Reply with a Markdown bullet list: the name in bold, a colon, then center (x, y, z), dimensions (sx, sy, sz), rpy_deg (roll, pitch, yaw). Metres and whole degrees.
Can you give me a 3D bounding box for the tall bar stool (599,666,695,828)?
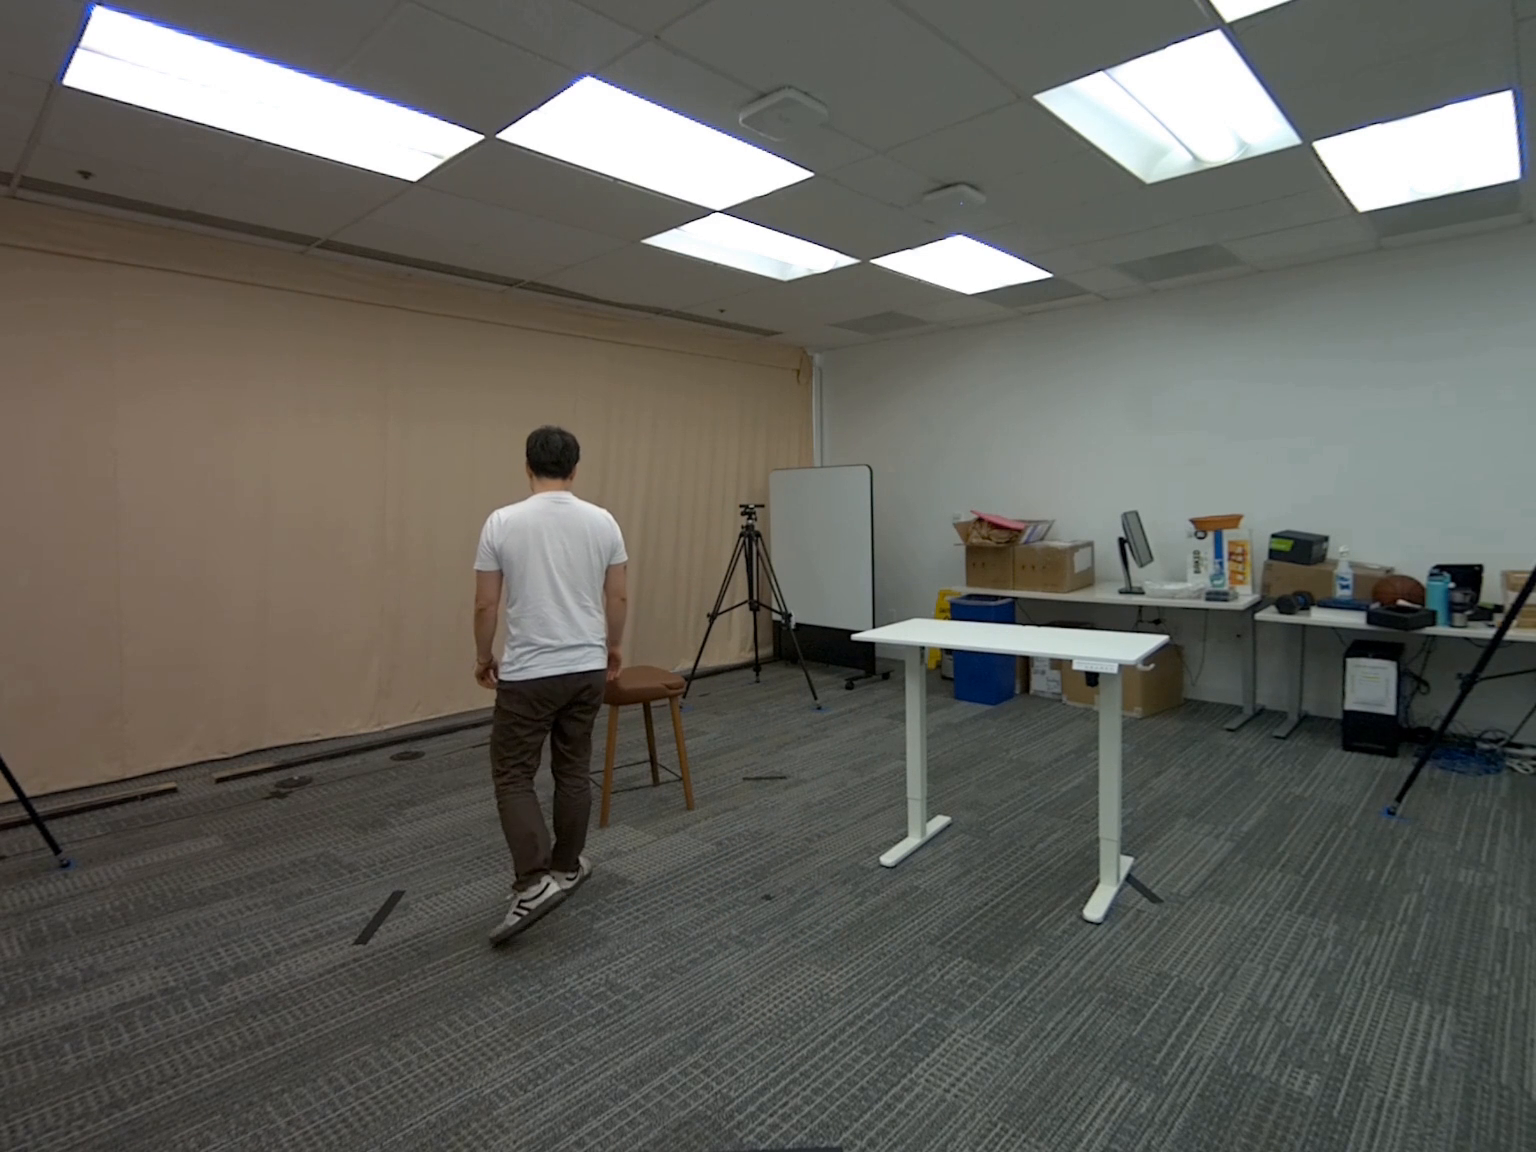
- **tall bar stool**: center (-0.650, 0.639, 3.911), dimensions (0.455, 0.887, 0.470), rpy_deg (-6, 5, -30)
